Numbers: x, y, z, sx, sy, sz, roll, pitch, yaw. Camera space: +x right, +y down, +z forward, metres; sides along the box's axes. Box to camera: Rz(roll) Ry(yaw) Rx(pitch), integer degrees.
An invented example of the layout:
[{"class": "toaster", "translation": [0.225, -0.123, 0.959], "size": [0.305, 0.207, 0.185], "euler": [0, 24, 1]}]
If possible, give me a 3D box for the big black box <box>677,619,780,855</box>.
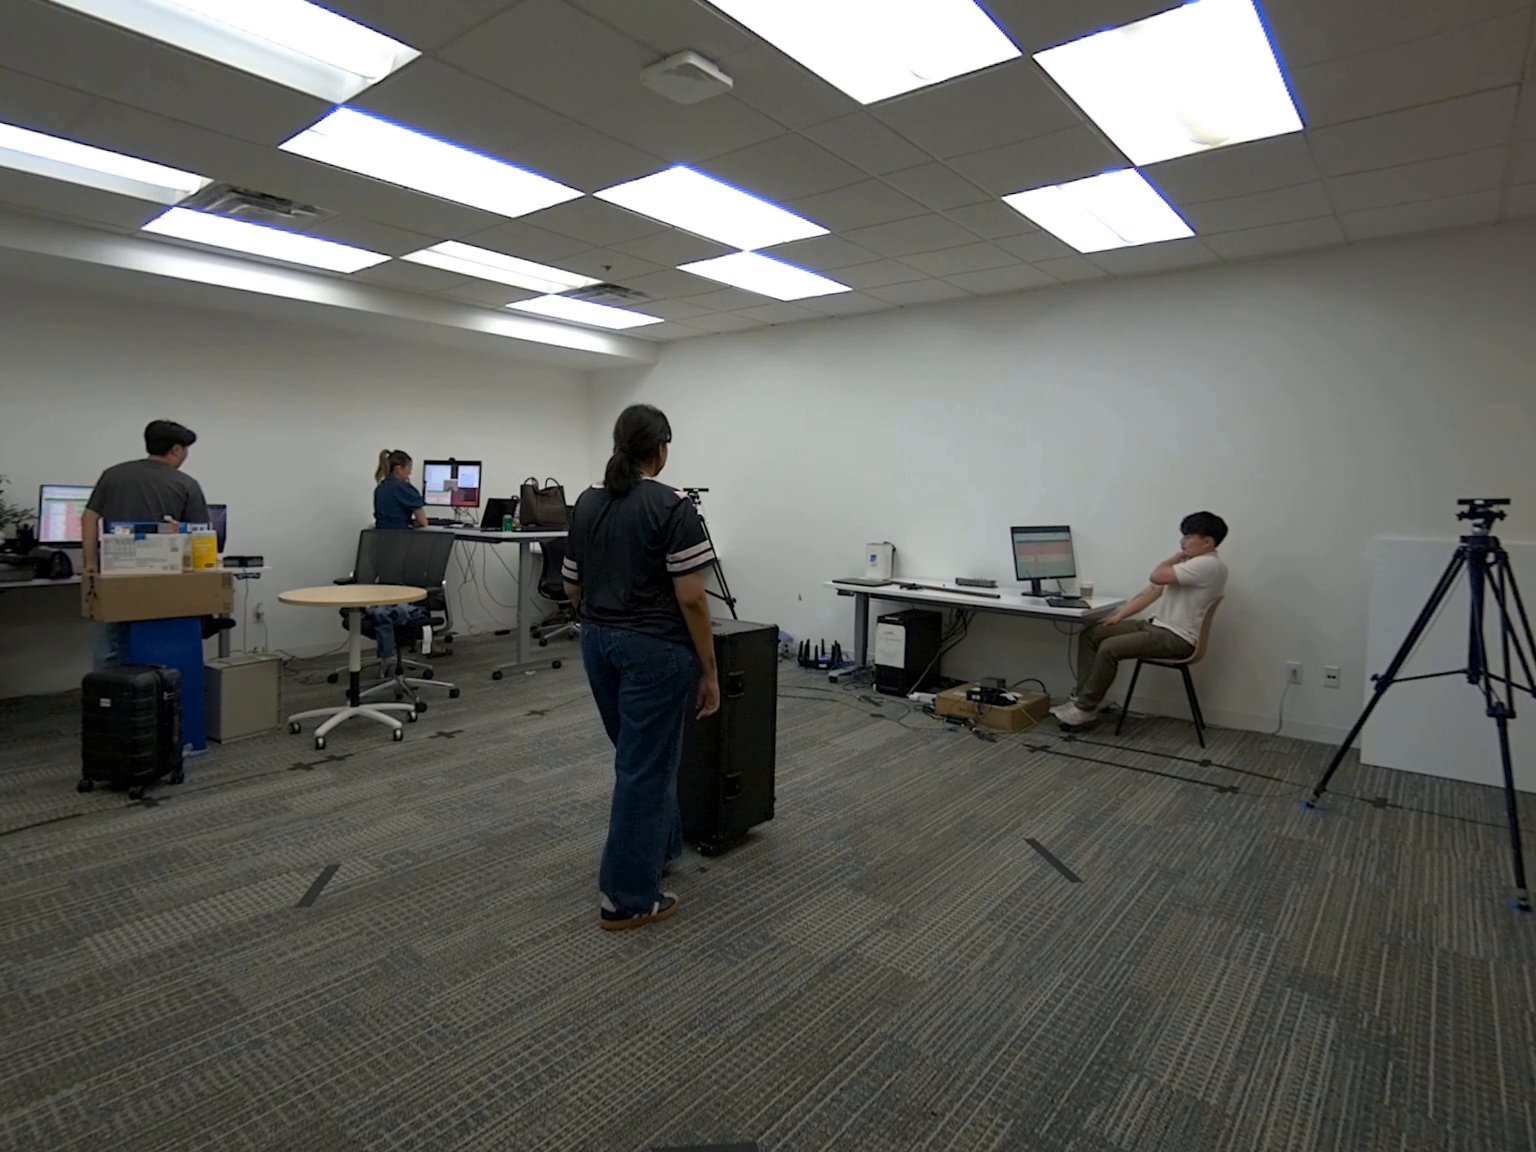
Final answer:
[{"class": "big black box", "translation": [-0.275, 0.615, 3.444], "size": [0.541, 0.866, 0.374], "euler": [4, 4, 39]}]
